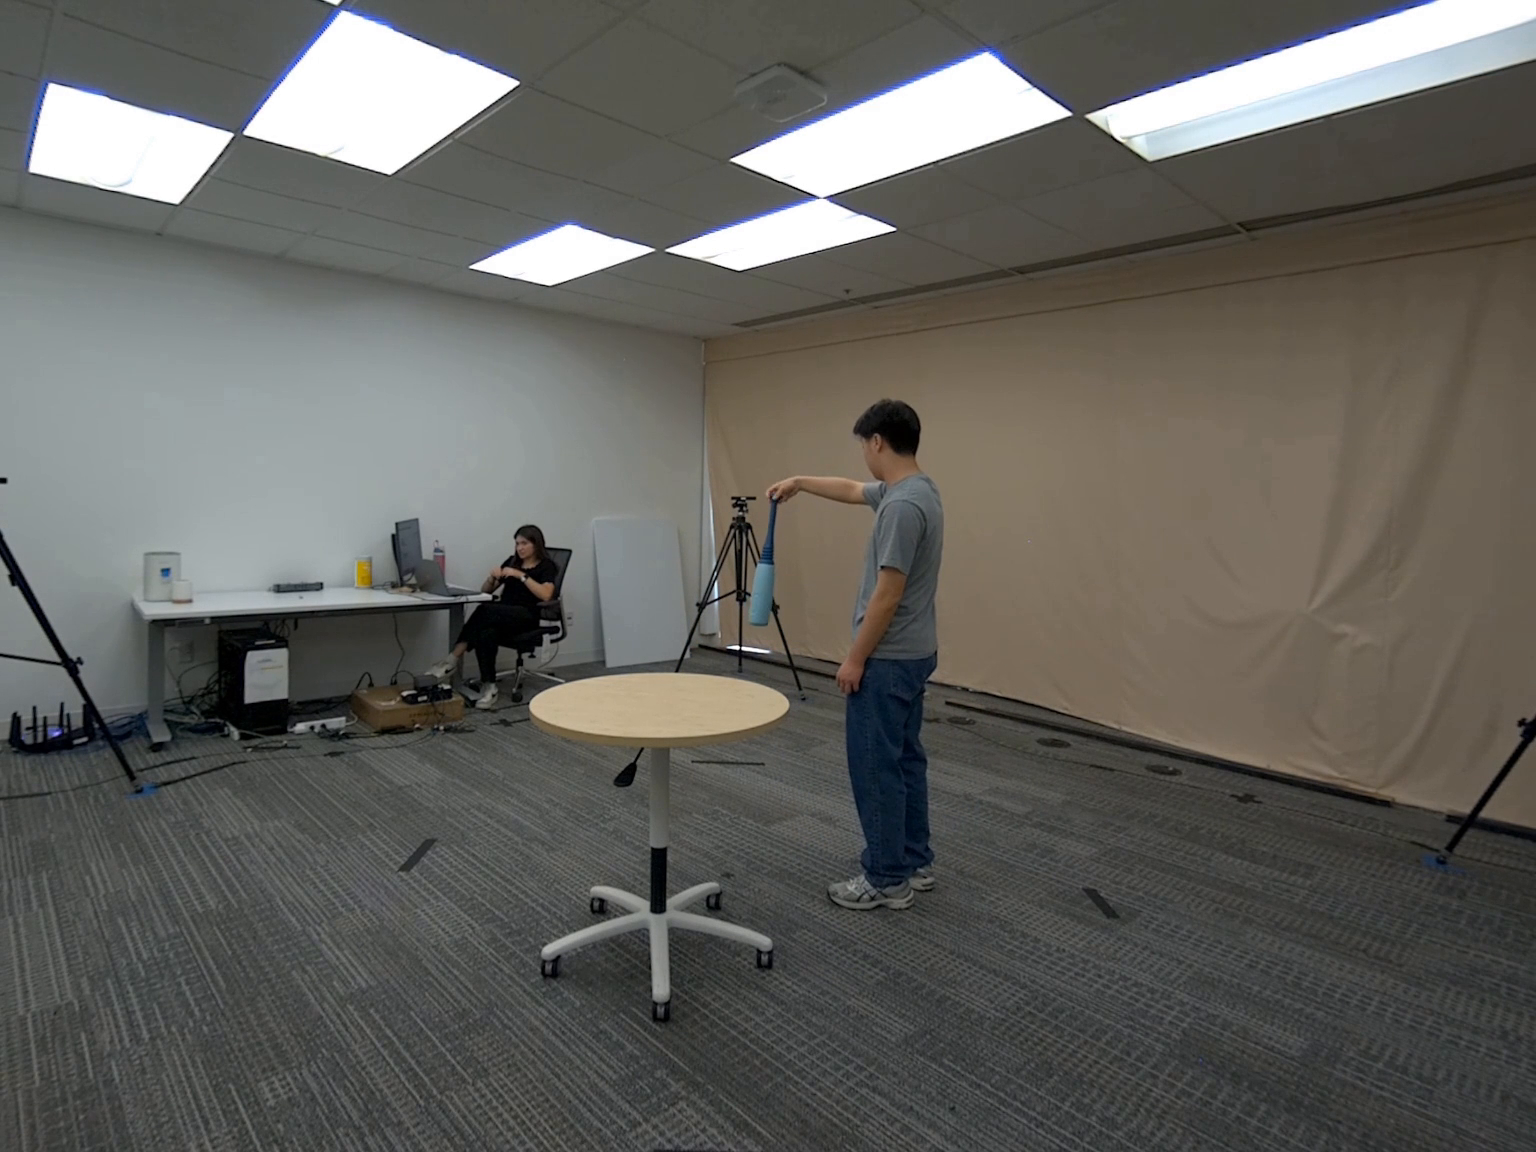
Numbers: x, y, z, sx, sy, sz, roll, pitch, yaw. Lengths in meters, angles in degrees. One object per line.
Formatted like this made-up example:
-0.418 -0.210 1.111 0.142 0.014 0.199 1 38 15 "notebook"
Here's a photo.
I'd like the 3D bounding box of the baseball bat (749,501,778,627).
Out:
-0.012 -0.064 3.425 0.089 0.544 0.089 8 -3 -1 "baseball bat"
